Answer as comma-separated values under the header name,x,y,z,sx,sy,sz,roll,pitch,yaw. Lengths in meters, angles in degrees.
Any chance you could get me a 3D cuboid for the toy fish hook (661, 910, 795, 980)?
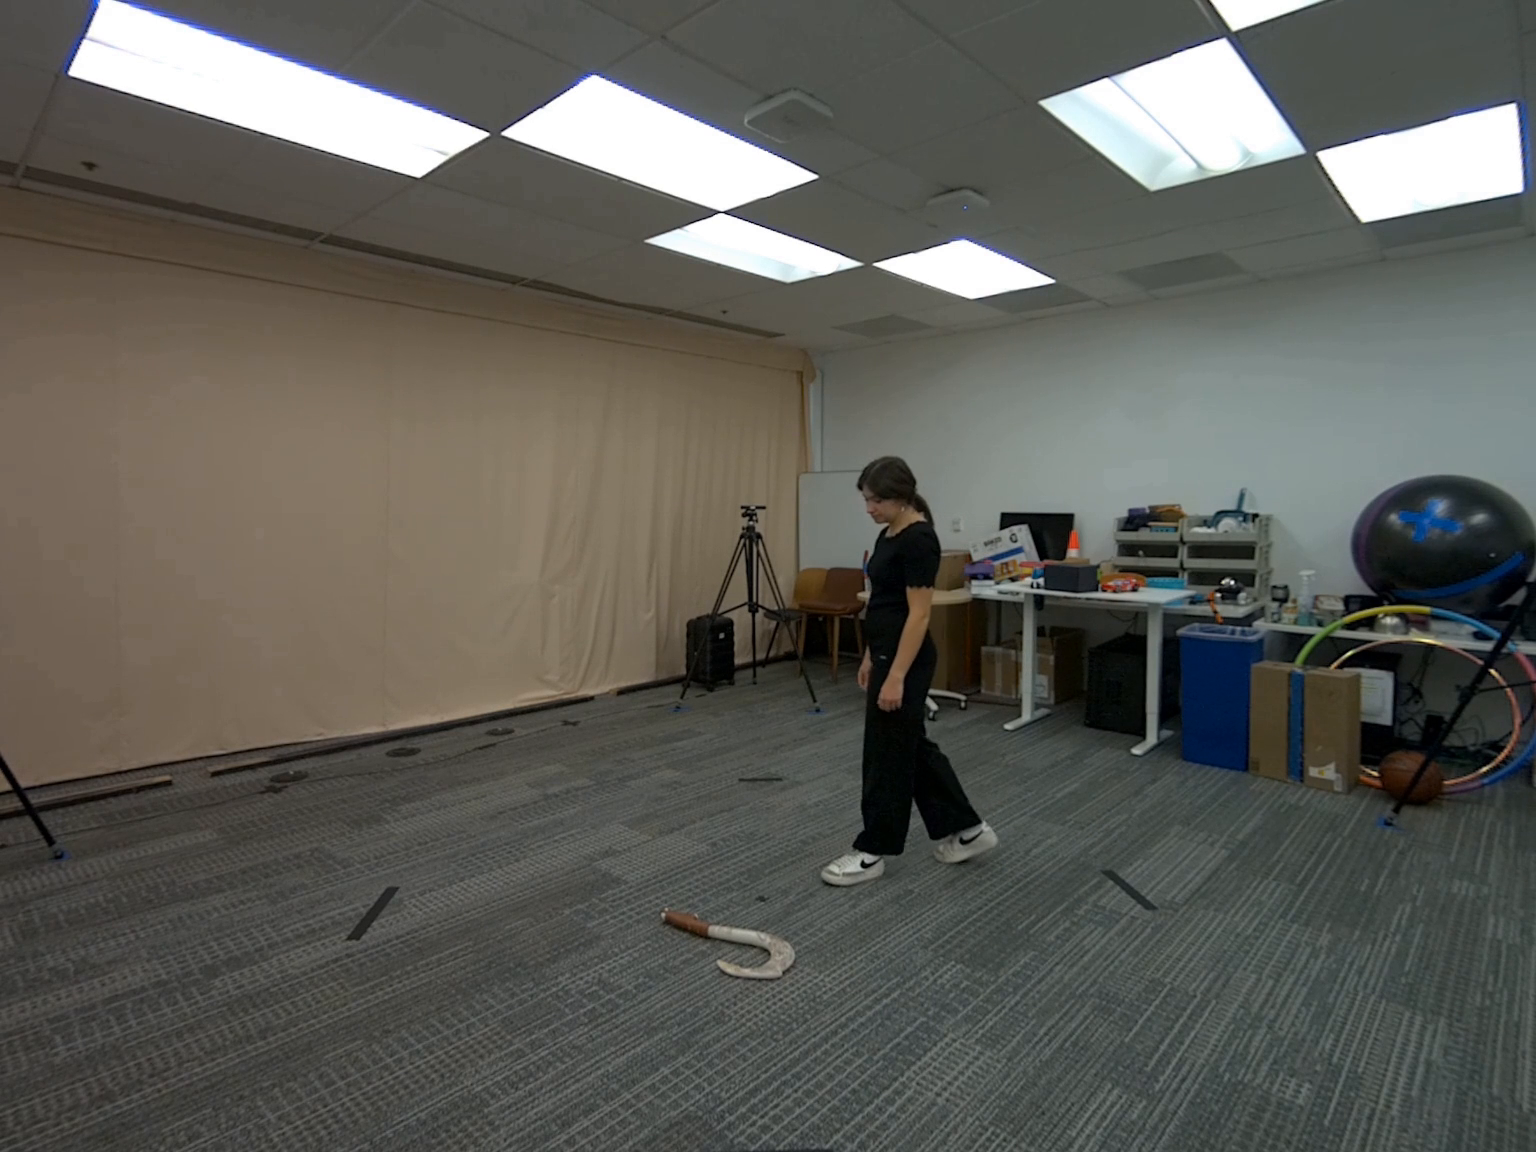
name,x,y,z,sx,sy,sz,roll,pitch,yaw
toy fish hook,-0.160,1.150,2.641,0.521,0.048,0.218,2,4,31
